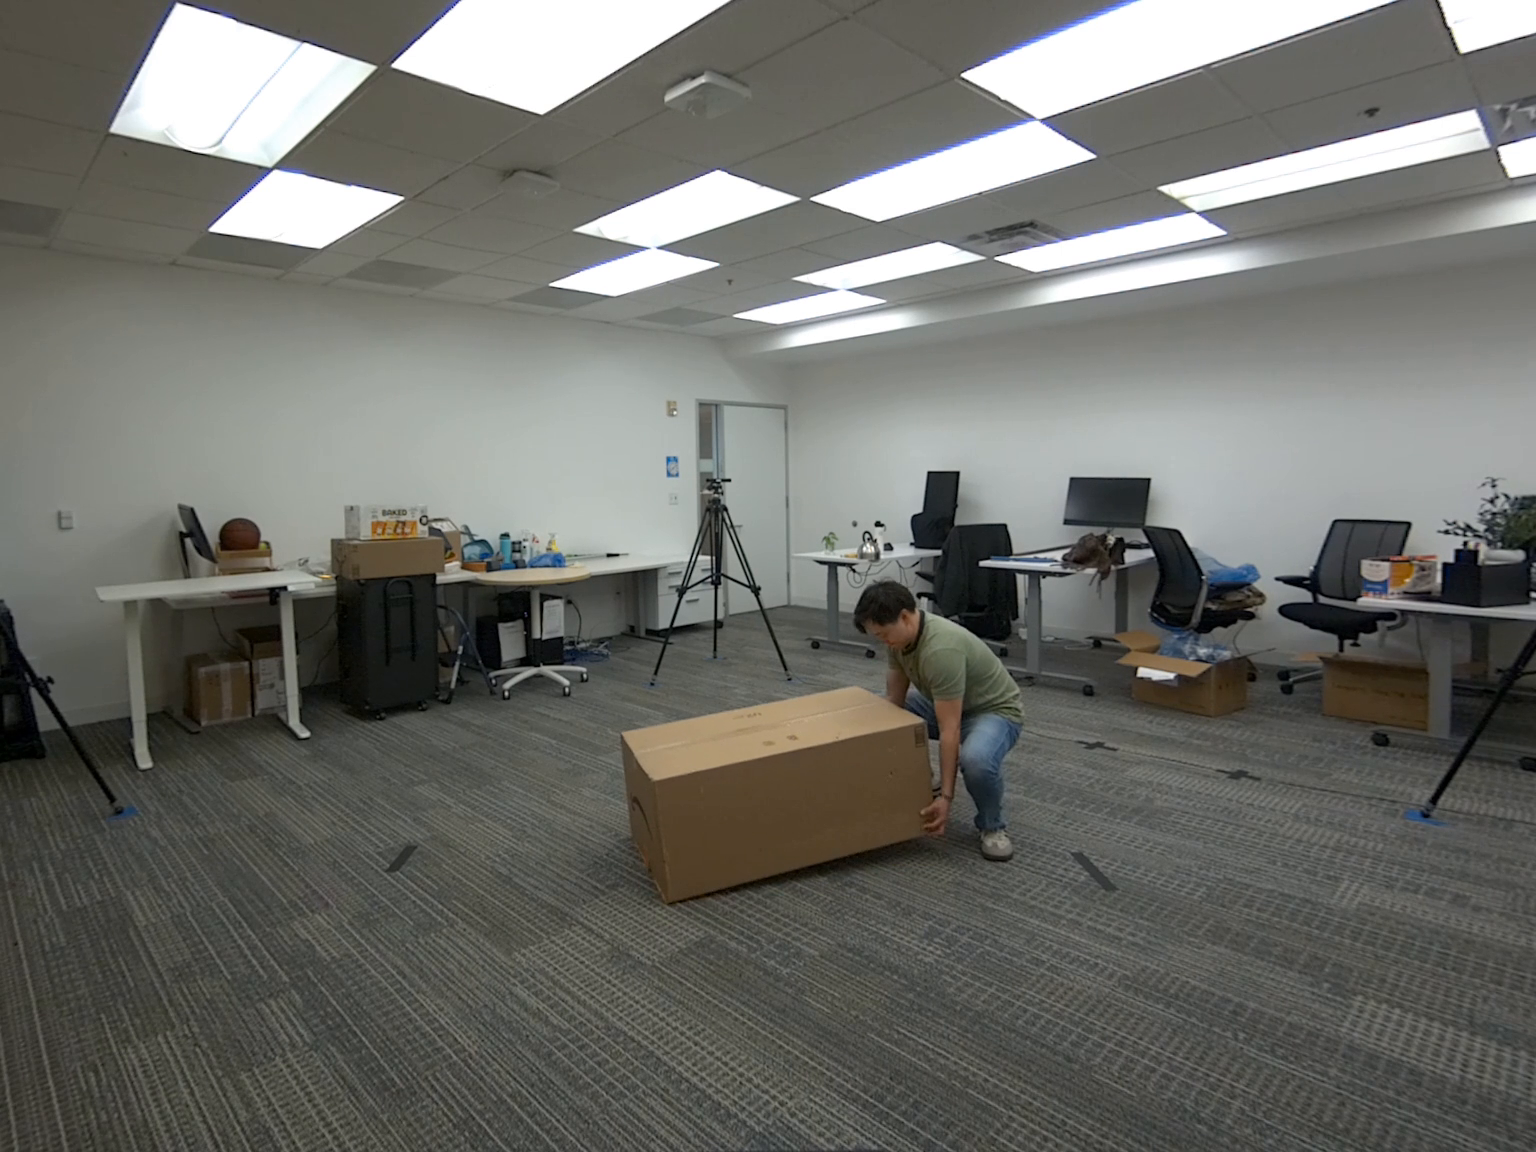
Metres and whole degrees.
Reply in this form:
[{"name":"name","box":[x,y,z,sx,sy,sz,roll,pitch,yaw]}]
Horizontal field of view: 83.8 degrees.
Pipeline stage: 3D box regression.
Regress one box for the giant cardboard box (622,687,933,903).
[{"name":"giant cardboard box","box":[0.017,0.769,3.210,1.011,0.423,0.590,-8,8,-18]}]
